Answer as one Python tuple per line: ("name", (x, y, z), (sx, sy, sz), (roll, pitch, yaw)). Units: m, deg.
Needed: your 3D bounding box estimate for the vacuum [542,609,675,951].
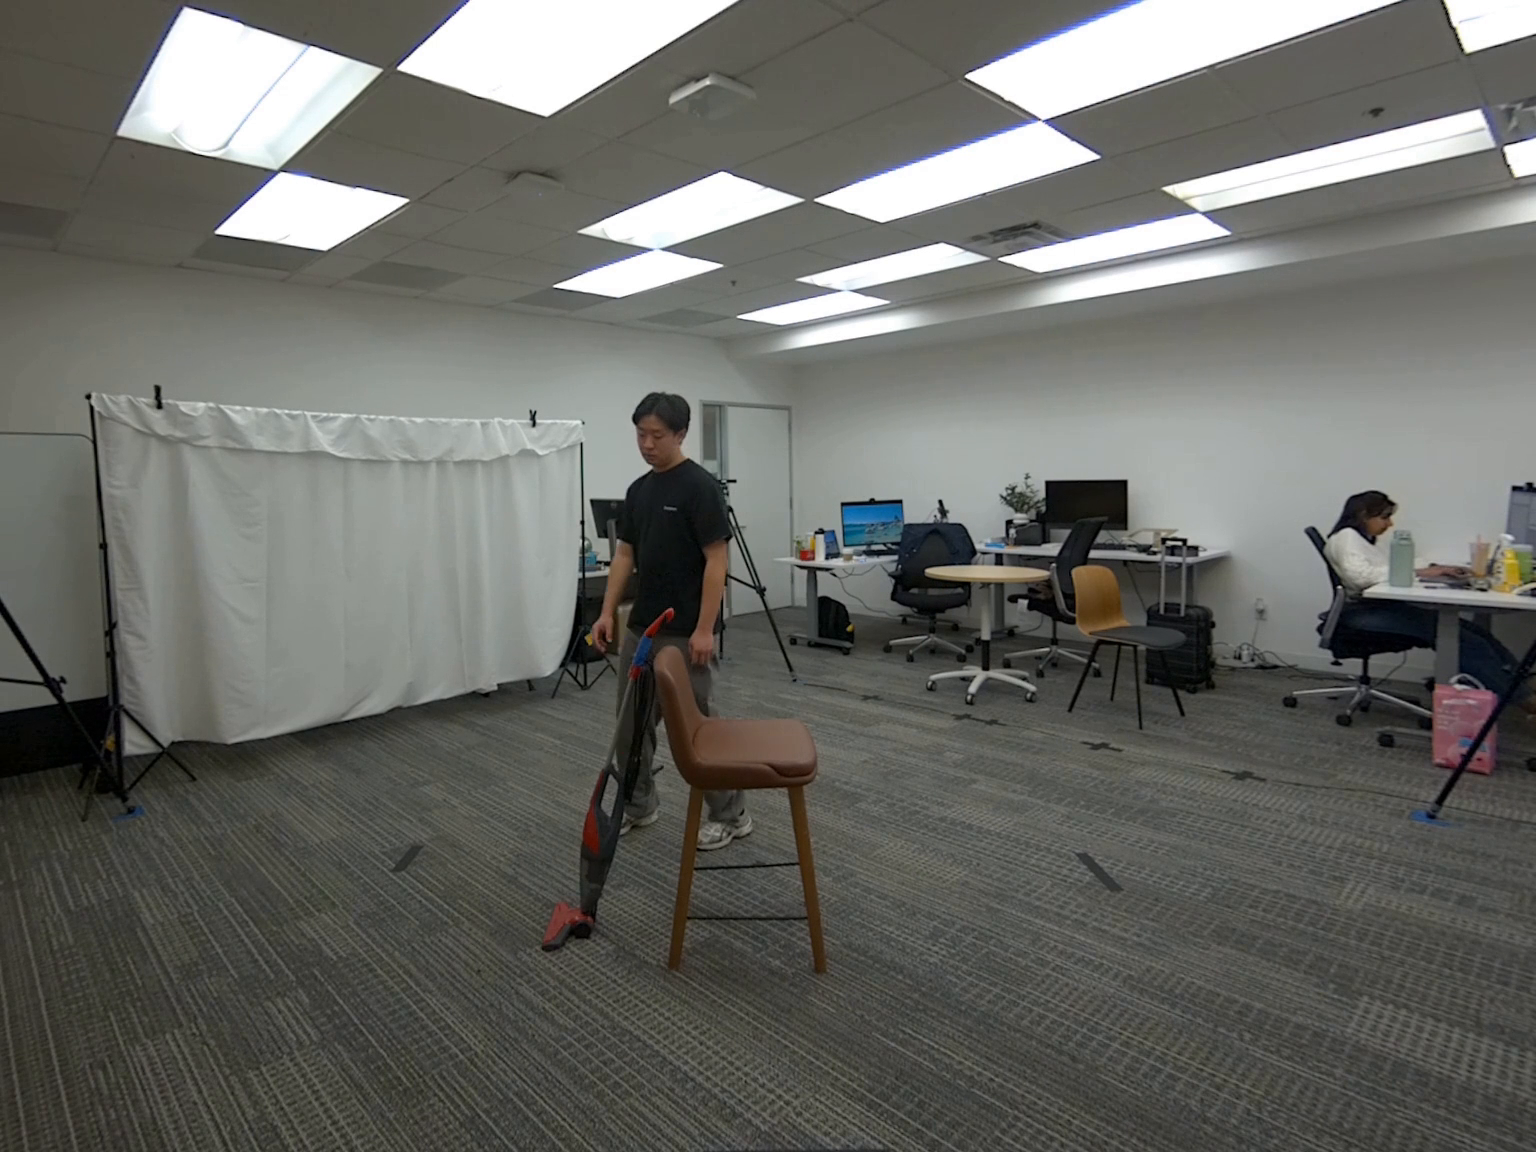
("vacuum", (-0.475, 0.605, 2.661), (0.142, 1.048, 0.257), (15, 2, -15))
